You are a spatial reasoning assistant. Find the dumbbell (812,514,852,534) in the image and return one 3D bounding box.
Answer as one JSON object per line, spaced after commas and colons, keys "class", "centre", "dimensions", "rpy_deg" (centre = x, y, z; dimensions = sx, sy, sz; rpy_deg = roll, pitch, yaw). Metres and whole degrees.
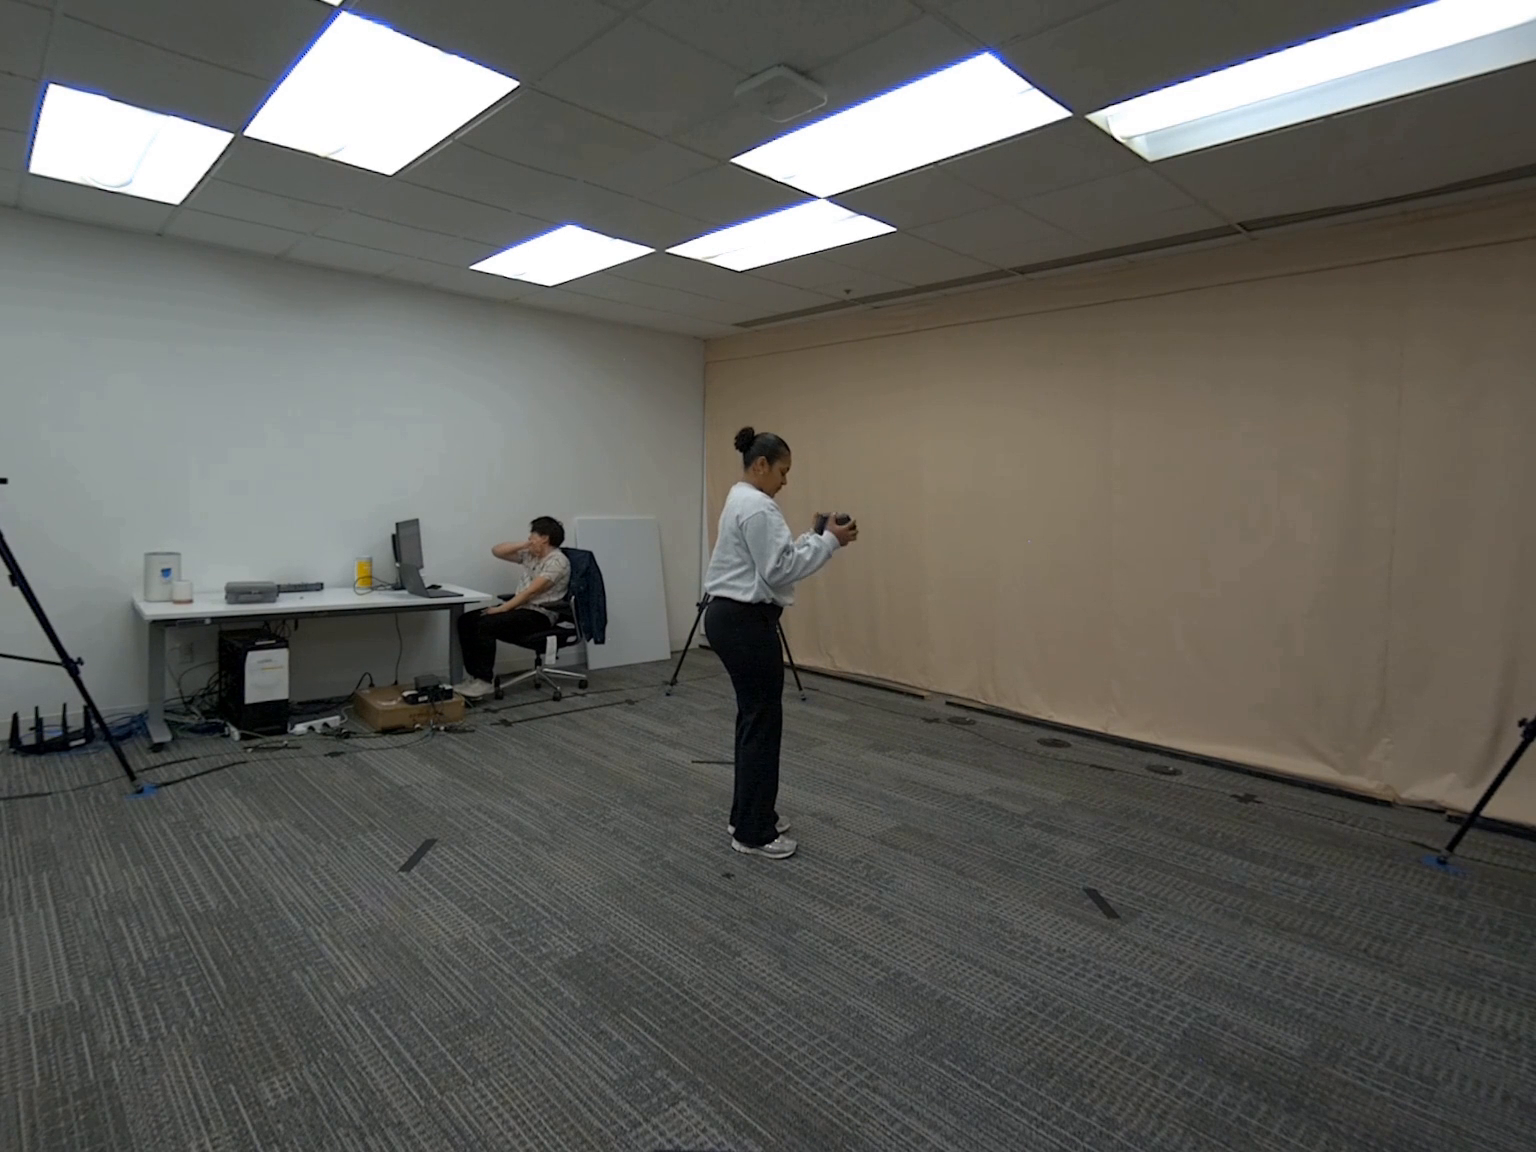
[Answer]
{"class": "dumbbell", "centre": [0.238, -0.188, 3.390], "dimensions": [0.123, 0.108, 0.295], "rpy_deg": [-8, 6, -1]}
